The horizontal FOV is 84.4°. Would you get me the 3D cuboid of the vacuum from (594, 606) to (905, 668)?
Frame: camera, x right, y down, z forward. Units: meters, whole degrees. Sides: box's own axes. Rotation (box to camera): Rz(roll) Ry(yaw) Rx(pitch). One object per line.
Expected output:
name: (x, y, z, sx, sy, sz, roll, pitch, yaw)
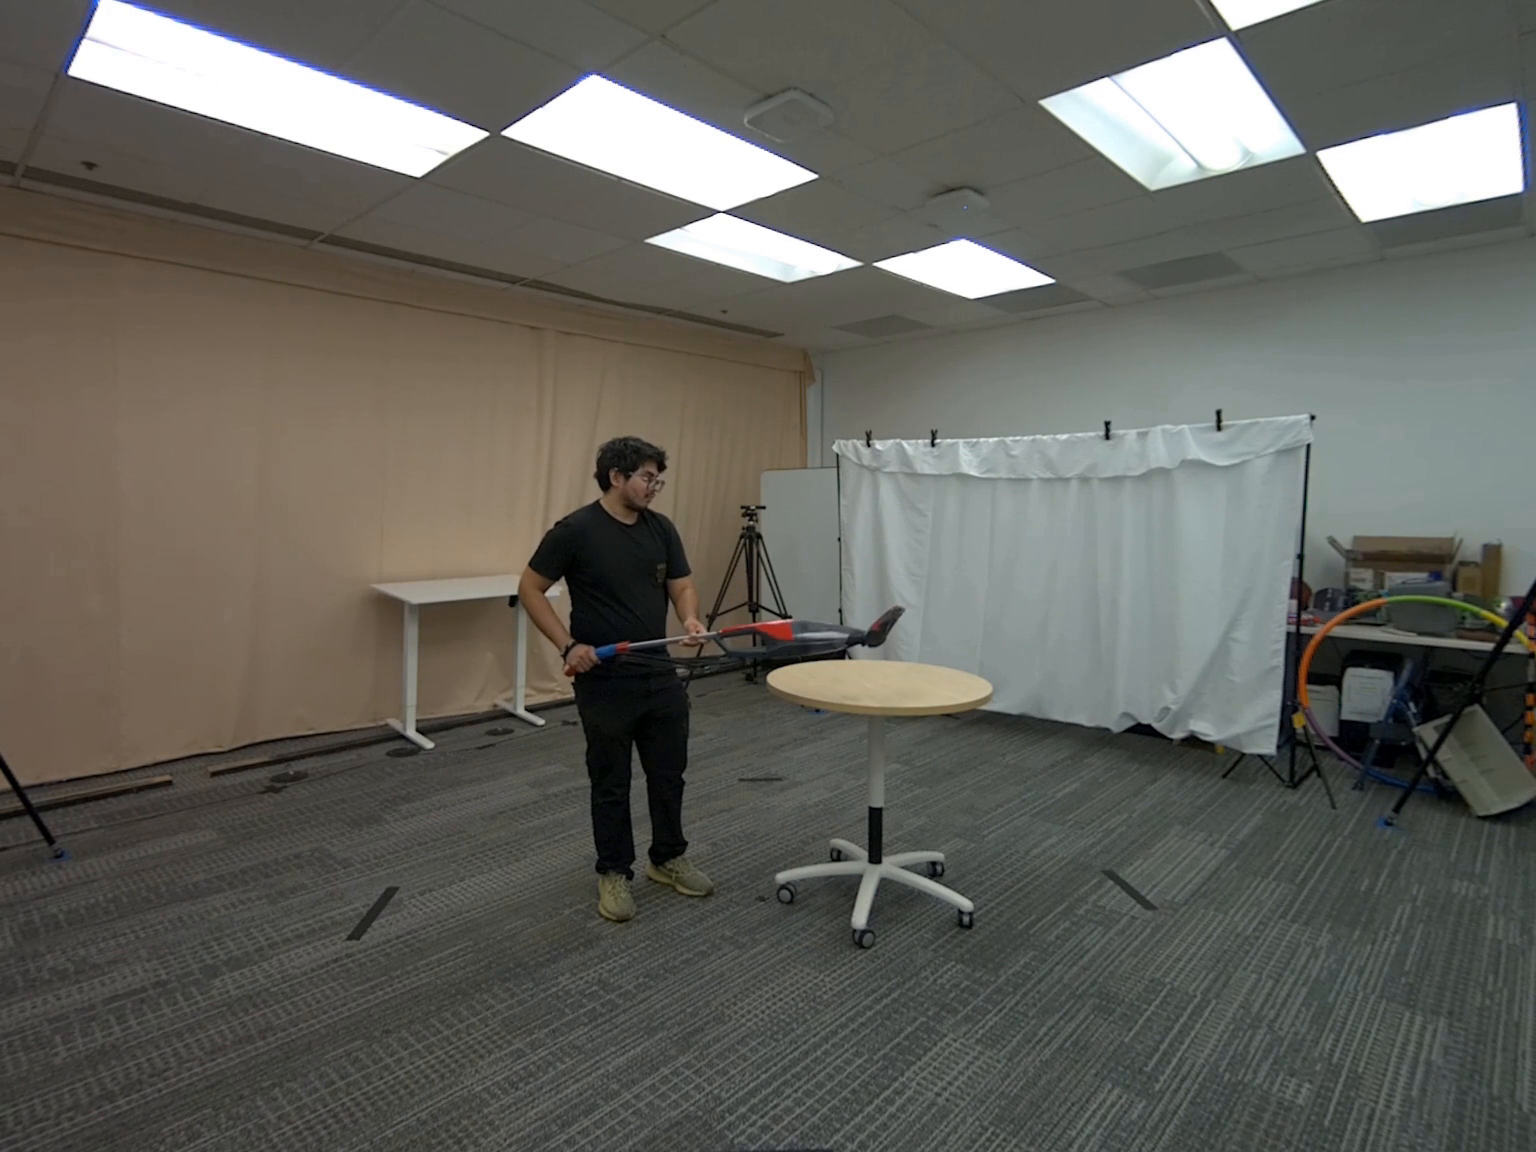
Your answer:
vacuum: (-0.131, 0.236, 2.645, 1.064, 0.144, 0.248, -9, -5, 15)
